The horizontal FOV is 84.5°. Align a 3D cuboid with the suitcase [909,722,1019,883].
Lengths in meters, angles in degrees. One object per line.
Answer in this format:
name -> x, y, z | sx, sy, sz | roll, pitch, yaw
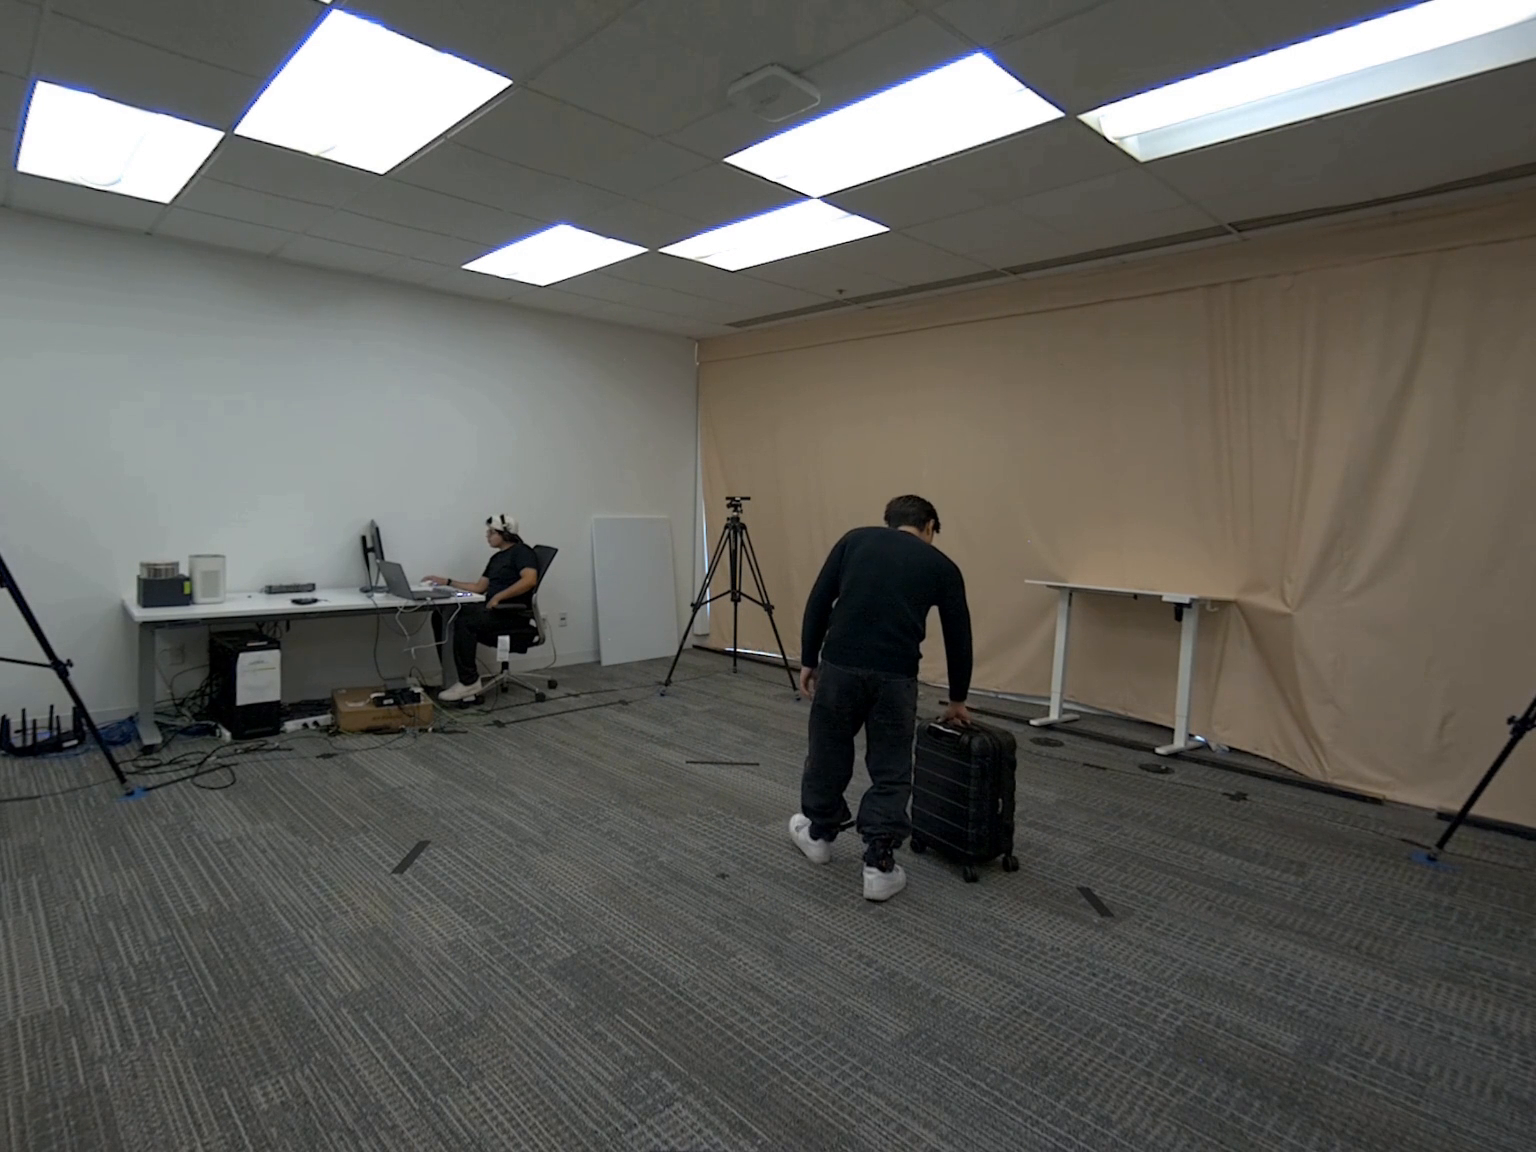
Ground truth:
suitcase -> 0.756, 0.834, 3.303 | 0.243, 0.549, 0.384 | 1, 2, -30
